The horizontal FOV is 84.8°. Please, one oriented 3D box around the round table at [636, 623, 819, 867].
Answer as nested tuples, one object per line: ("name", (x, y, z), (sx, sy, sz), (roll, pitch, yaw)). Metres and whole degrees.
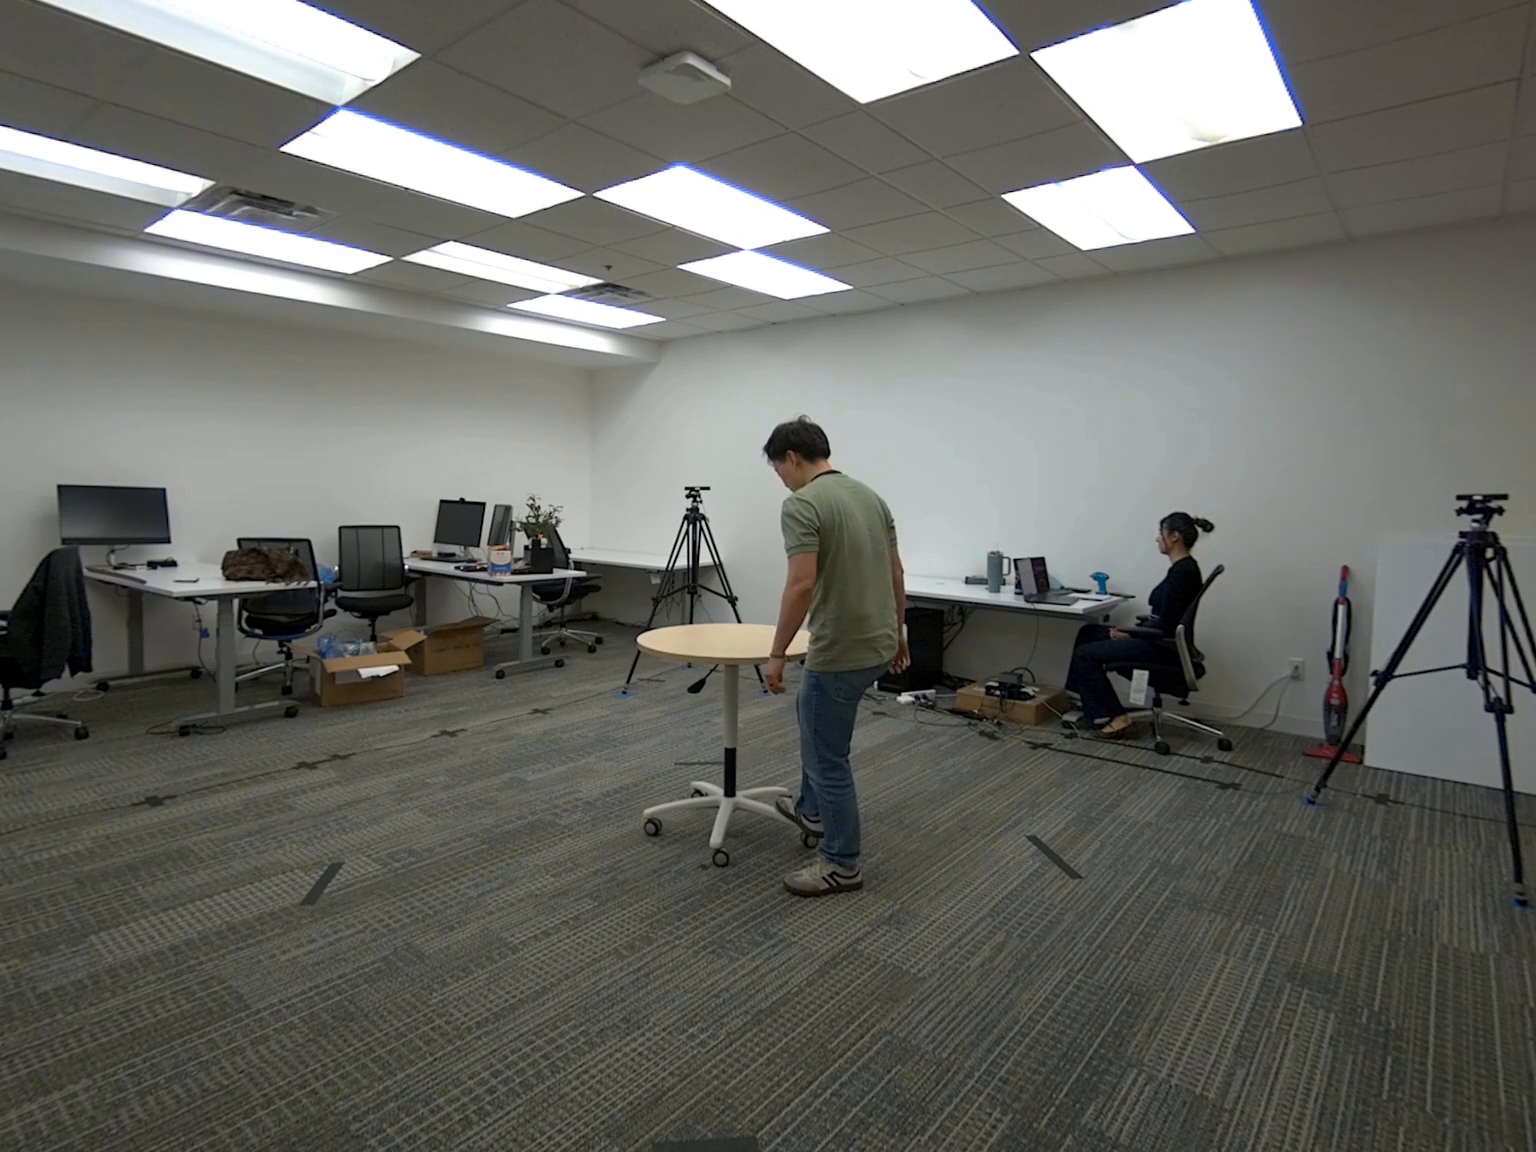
("round table", (-0.165, 0.643, 3.453), (0.763, 0.791, 0.768), (1, 4, -2))
